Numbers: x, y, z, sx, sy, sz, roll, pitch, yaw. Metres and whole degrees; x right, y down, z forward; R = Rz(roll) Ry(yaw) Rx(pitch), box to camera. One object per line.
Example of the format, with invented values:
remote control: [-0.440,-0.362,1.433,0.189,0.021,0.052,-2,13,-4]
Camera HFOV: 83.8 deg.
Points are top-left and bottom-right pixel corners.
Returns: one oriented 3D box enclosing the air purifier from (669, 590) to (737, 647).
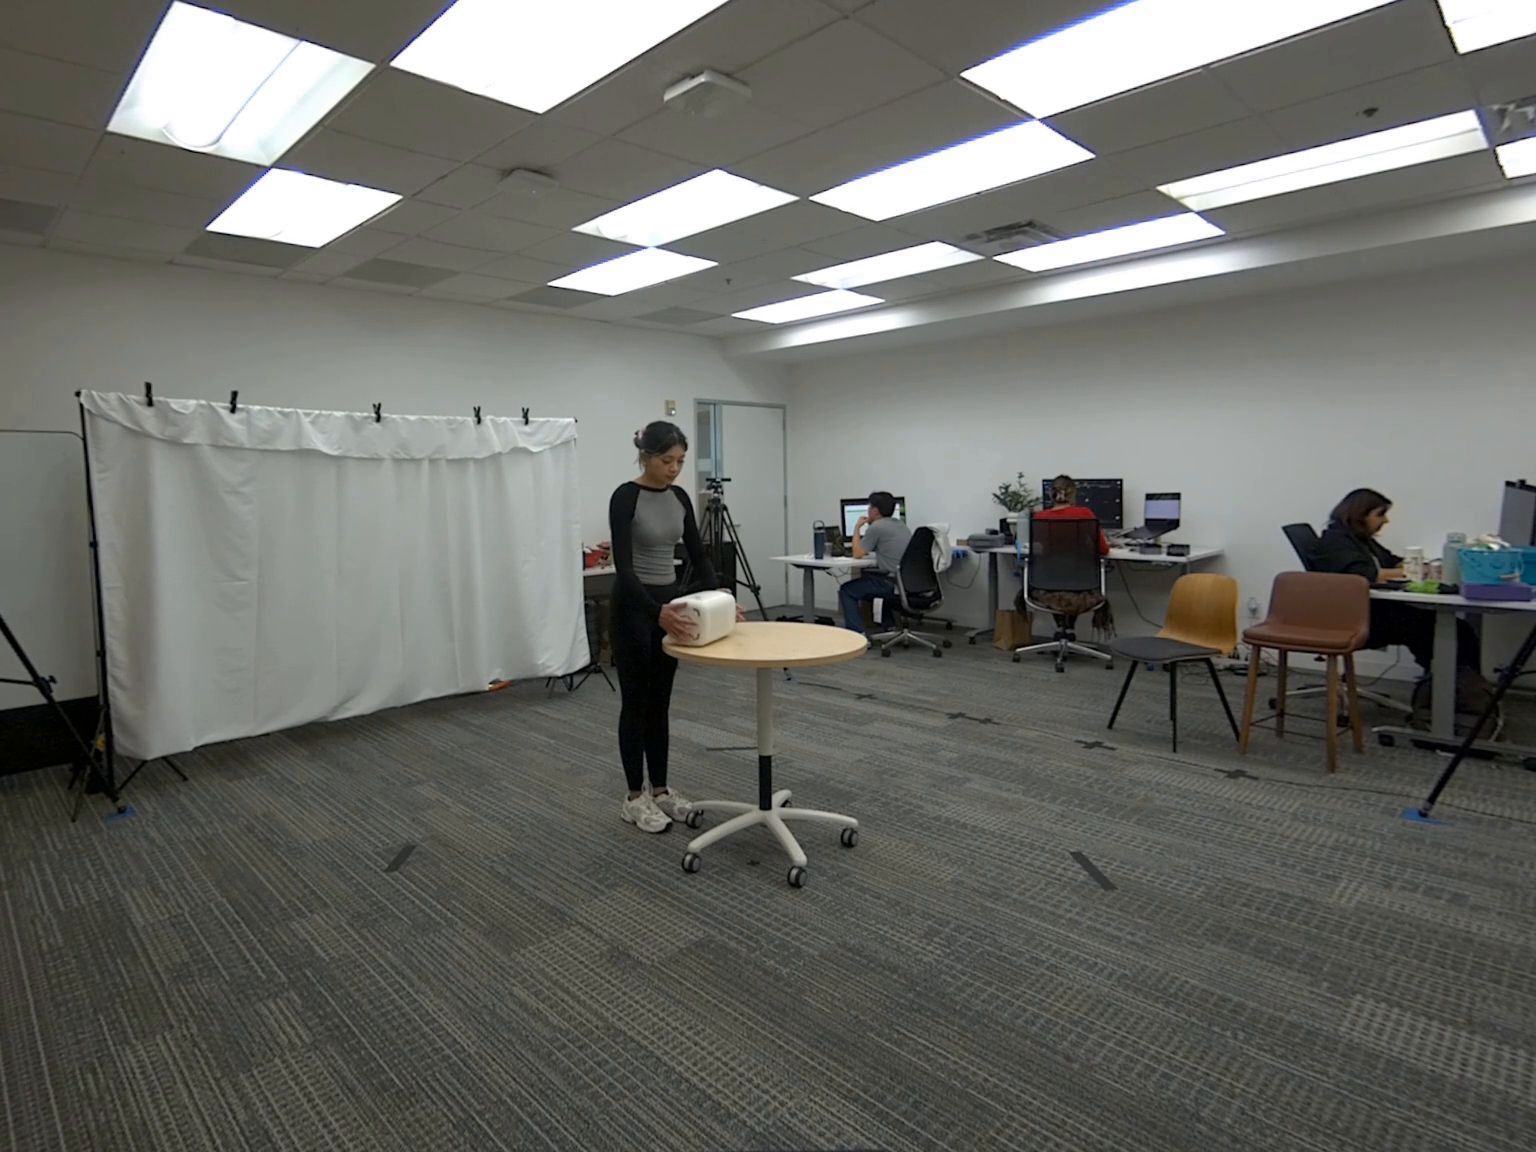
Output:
air purifier: [-0.244,0.156,3.174,0.175,0.171,0.261,5,7,22]
